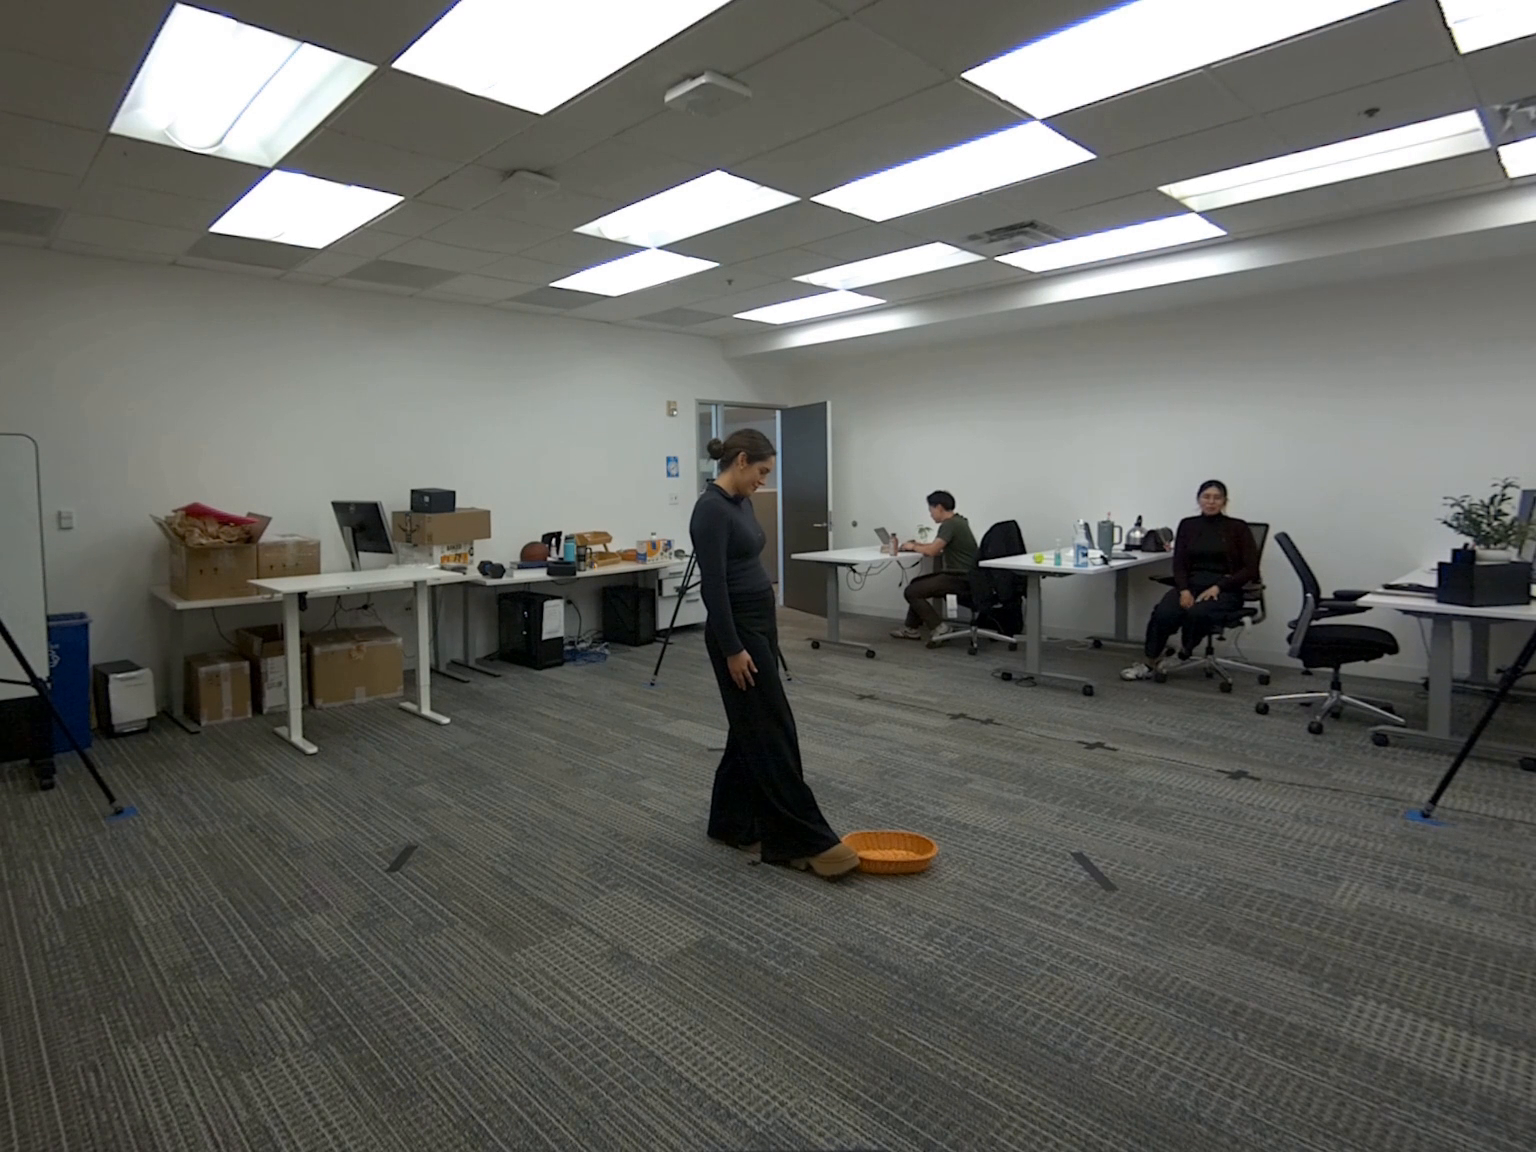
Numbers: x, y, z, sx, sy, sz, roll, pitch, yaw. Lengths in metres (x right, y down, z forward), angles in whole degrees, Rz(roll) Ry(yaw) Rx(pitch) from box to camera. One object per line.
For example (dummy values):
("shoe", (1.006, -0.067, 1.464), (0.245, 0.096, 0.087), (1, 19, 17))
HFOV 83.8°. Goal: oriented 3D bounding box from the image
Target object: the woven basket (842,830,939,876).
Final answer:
("woven basket", (0.434, 0.991, 3.068), (0.350, 0.073, 0.253), (1, 5, -1))
